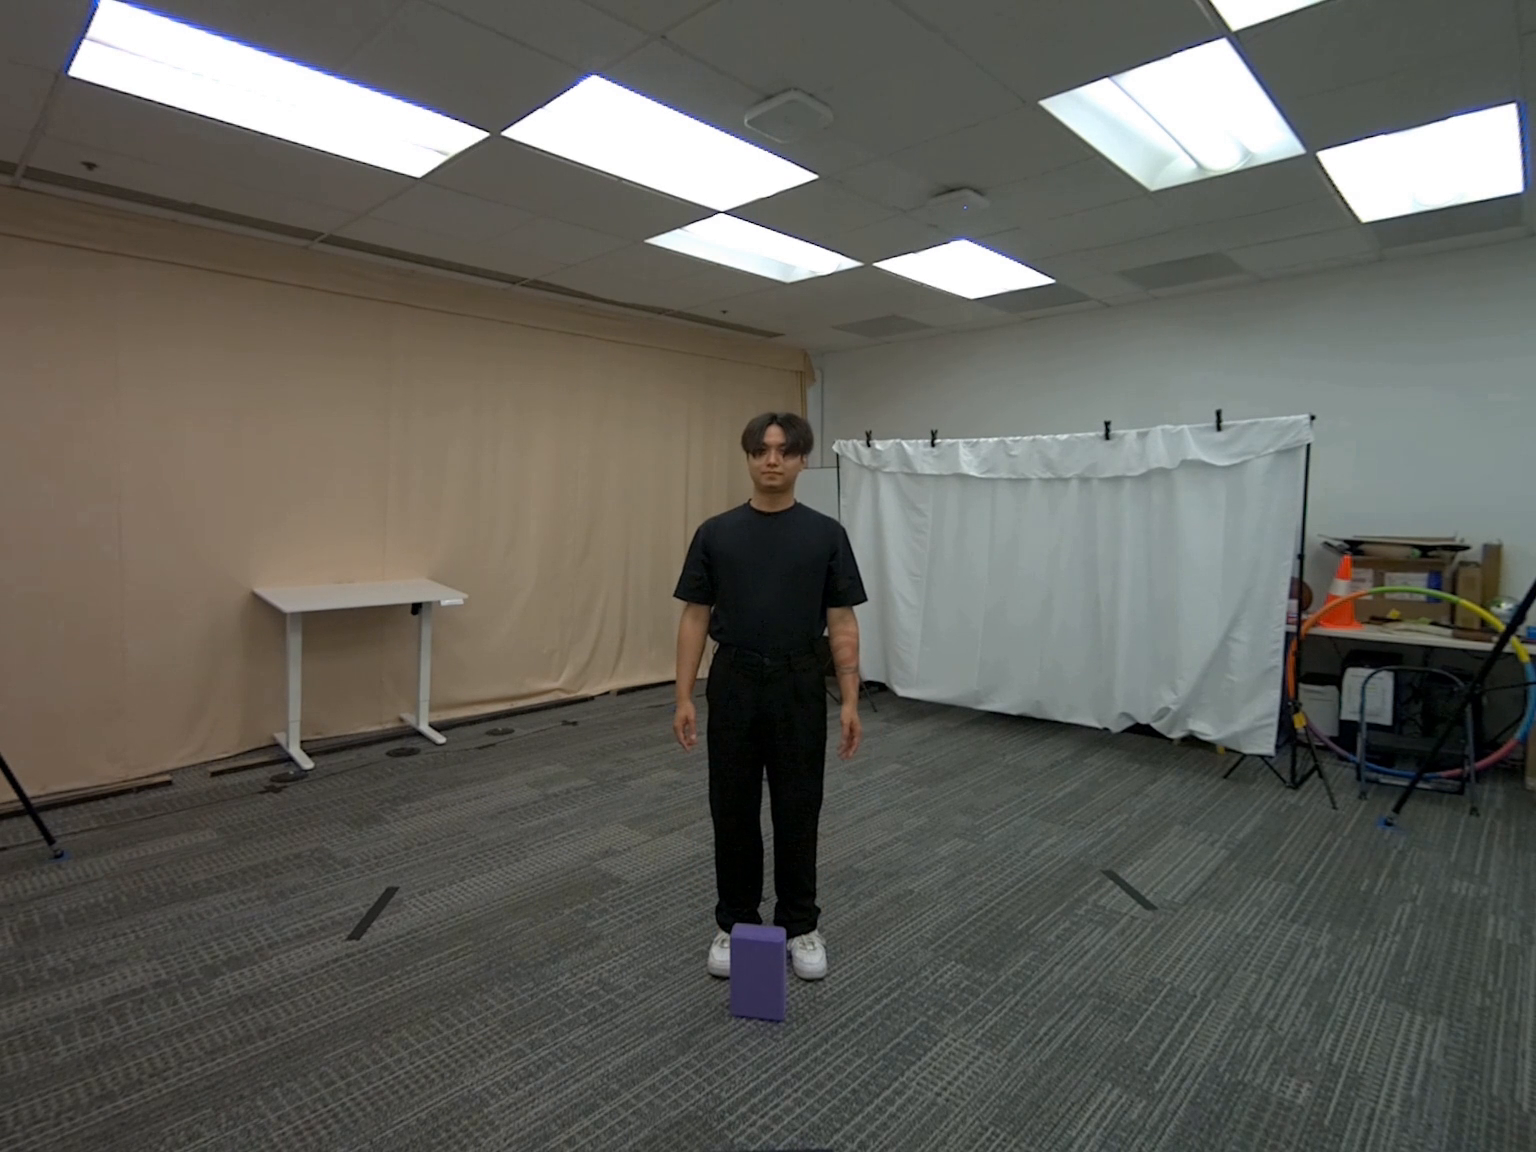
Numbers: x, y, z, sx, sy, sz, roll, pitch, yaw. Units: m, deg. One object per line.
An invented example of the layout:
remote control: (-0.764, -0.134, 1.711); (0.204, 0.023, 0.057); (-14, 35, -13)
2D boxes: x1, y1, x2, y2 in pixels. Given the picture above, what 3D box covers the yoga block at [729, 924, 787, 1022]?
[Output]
yoga block: (-0.028, 1.083, 2.313); (0.150, 0.228, 0.076); (0, 5, 9)
